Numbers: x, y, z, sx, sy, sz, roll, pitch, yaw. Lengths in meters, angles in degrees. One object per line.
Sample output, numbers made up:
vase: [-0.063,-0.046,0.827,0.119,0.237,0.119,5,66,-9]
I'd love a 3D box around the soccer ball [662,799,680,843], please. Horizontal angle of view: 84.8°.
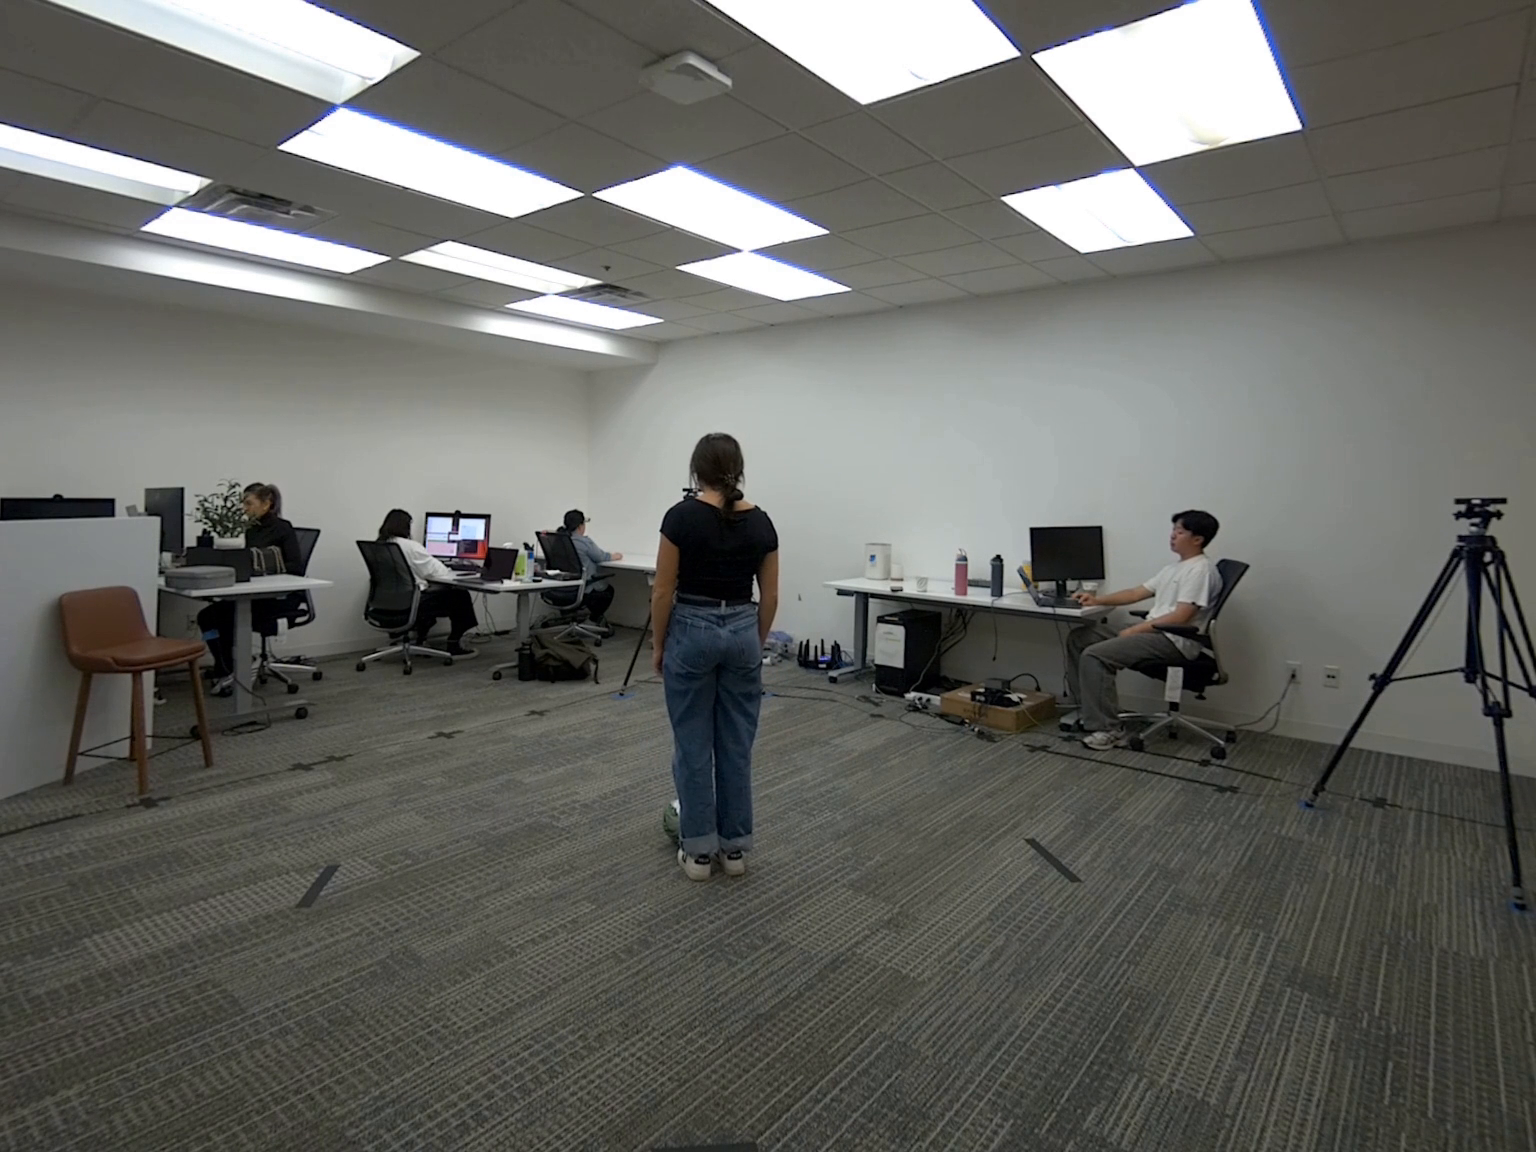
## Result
soccer ball: [-0.309,0.943,3.335,0.187,0.187,0.188,1,4,-2]
